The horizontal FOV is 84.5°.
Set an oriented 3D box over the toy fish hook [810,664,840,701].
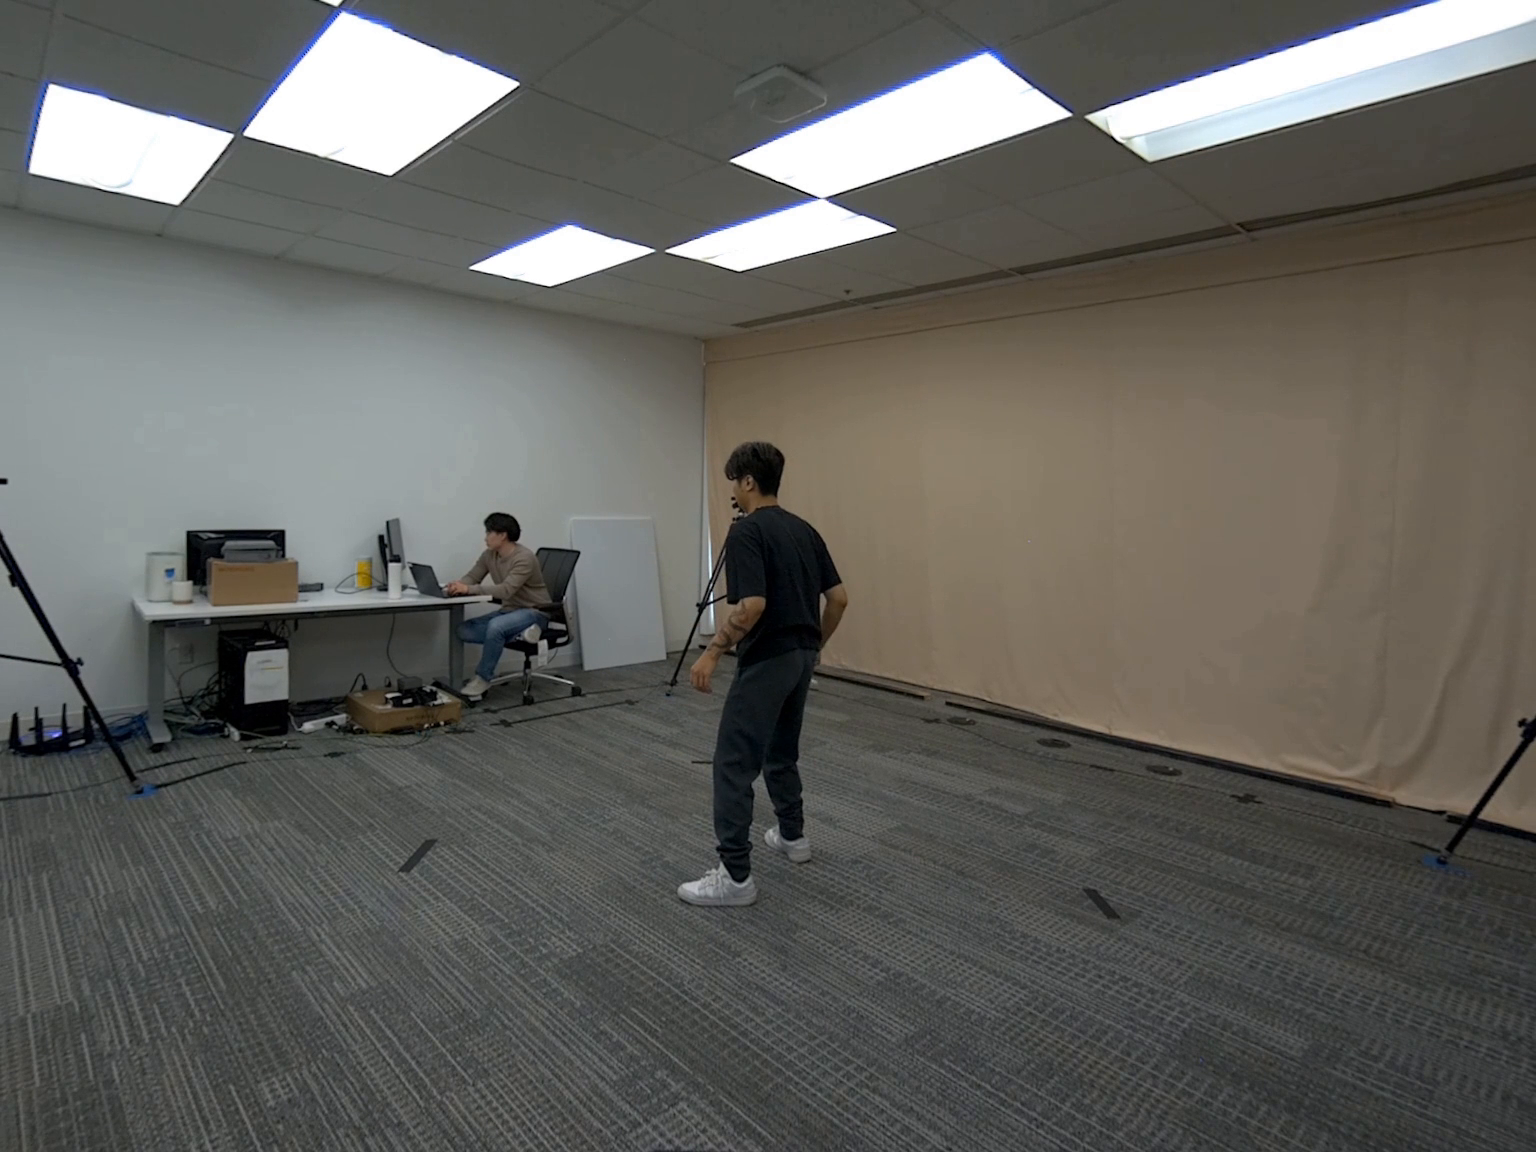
[{"bbox_3d":[0.140,0.366,3.454,0.048,0.224,0.509,-37,5,-9],"label":"toy fish hook"}]
